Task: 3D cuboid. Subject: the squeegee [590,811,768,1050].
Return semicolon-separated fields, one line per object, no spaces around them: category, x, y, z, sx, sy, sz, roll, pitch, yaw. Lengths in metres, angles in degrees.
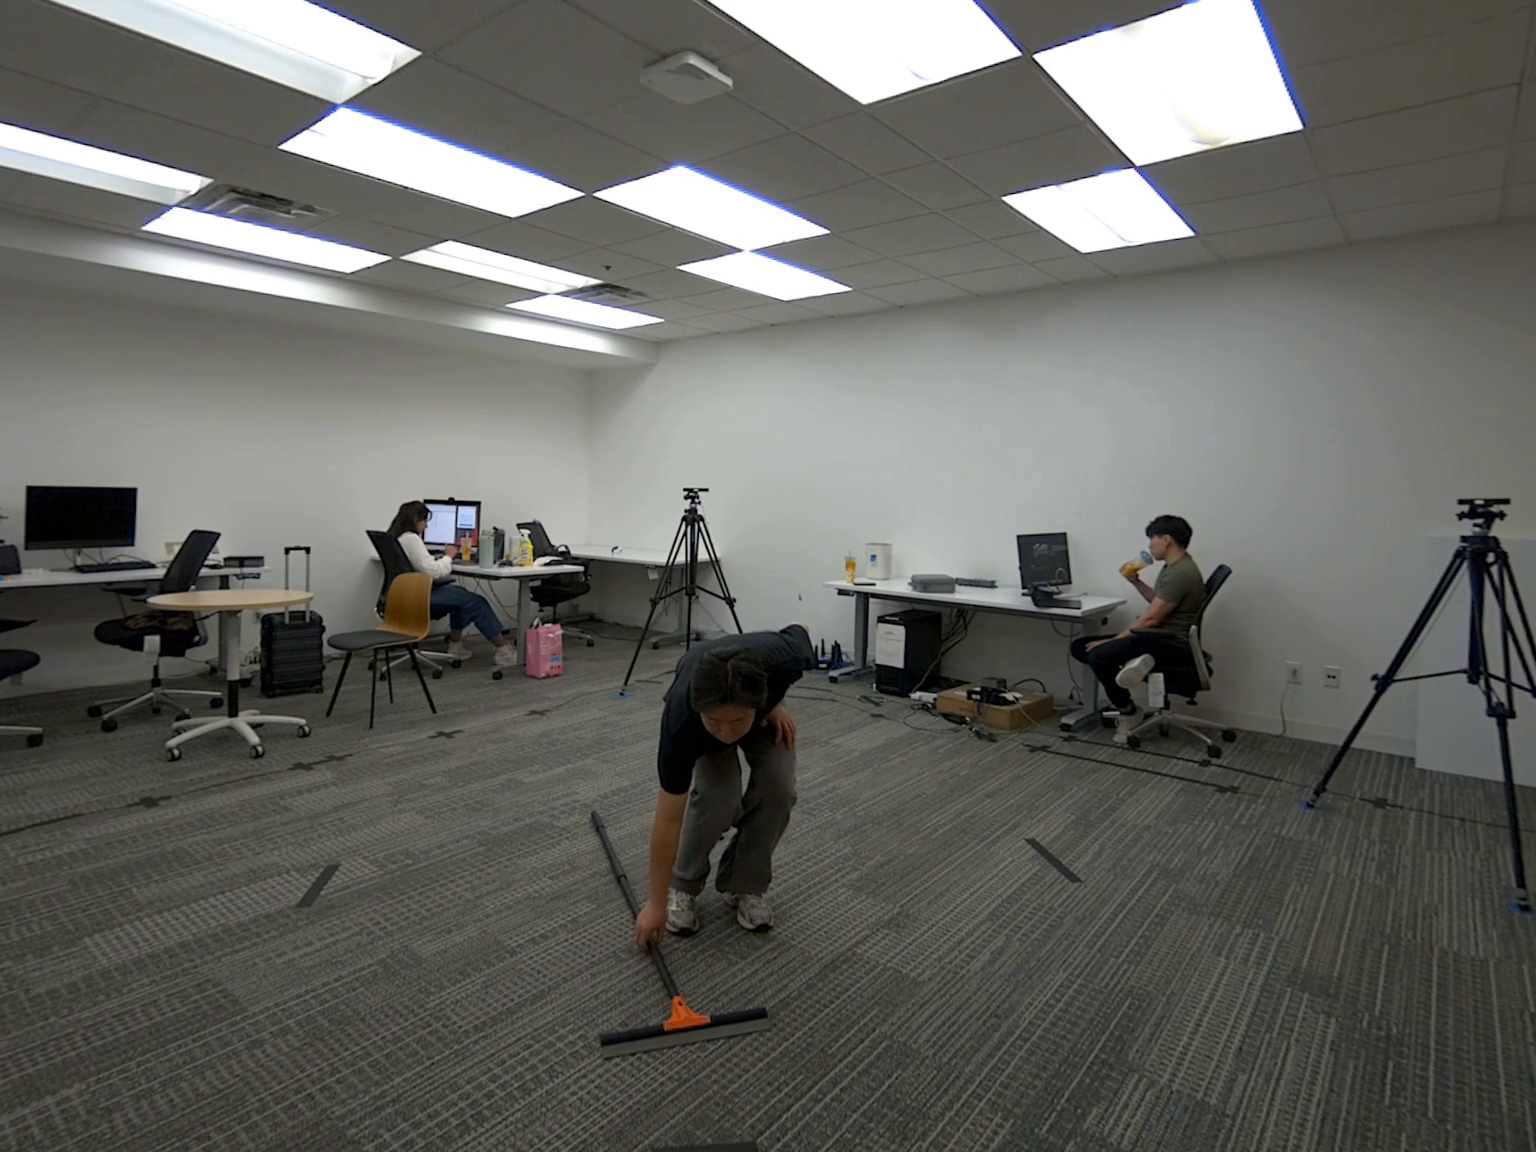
squeegee;-0.480;1.045;2.866;0.428;0.053;1.575;1;5;-21
